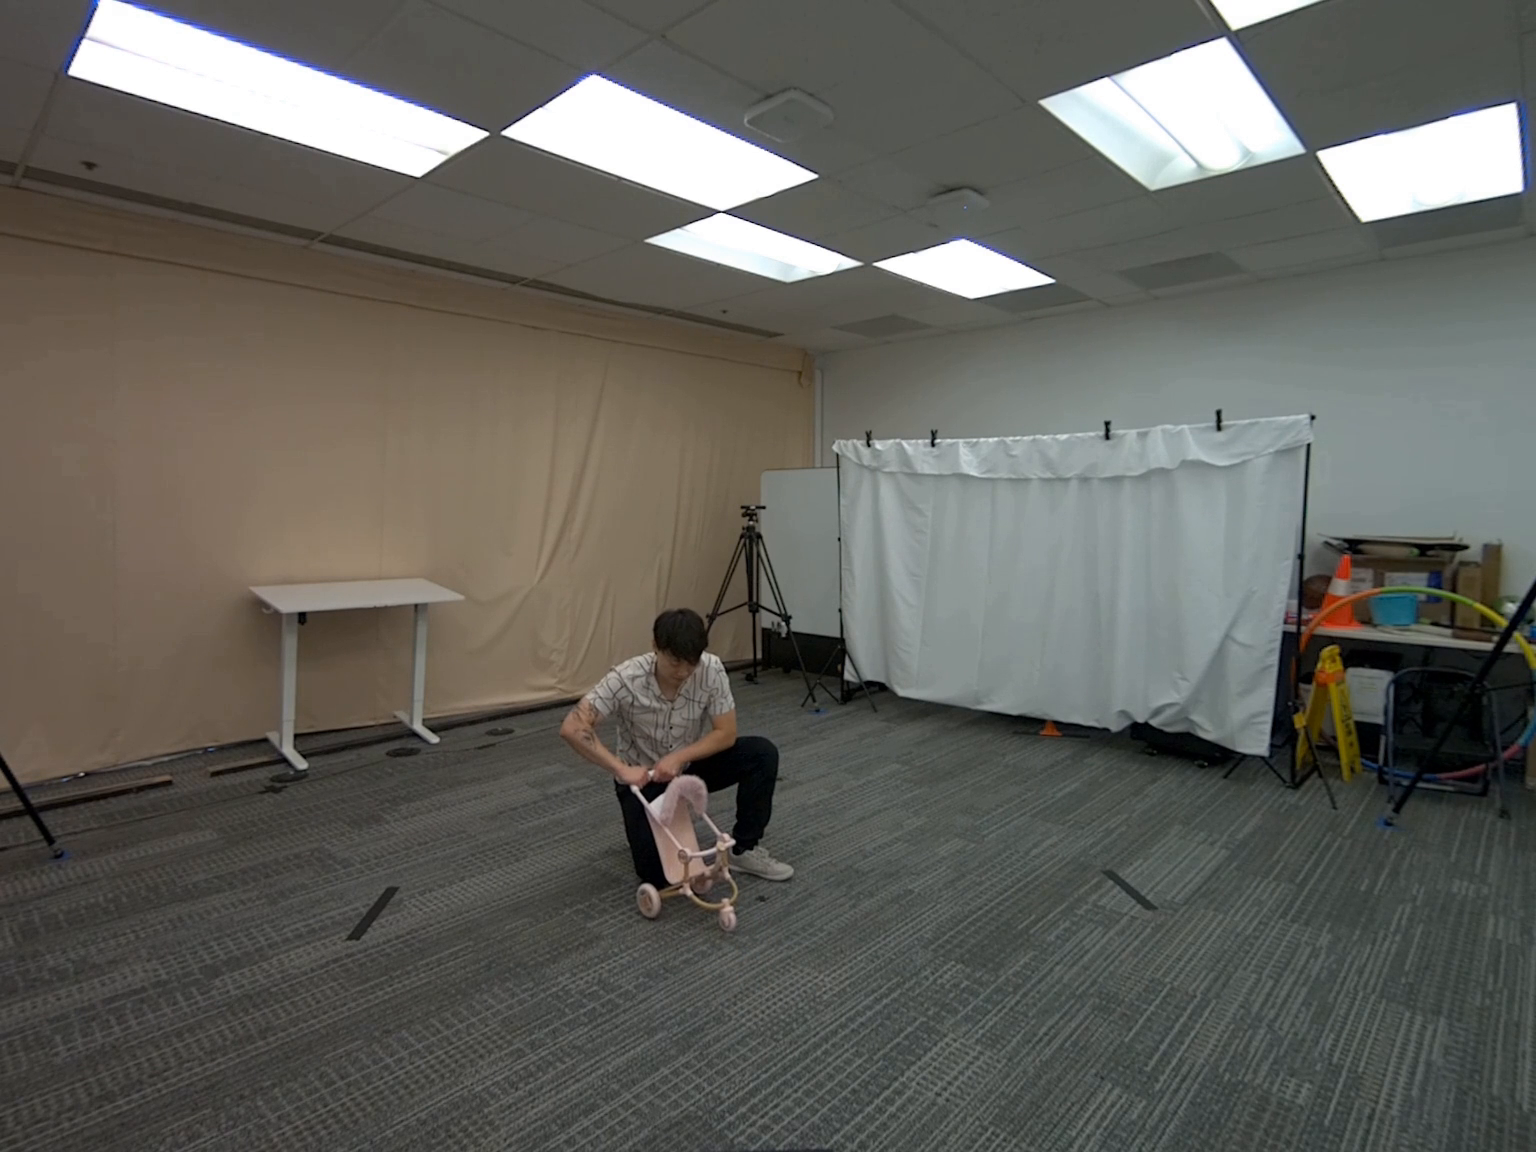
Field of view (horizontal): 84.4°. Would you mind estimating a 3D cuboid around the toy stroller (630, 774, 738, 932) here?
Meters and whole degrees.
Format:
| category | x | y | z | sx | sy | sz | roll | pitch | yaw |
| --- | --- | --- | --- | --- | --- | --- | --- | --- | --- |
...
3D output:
| category | x | y | z | sx | sy | sz | roll | pitch | yaw |
| --- | --- | --- | --- | --- | --- | --- | --- | --- | --- |
| toy stroller | -0.267 | 0.922 | 2.882 | 0.272 | 0.540 | 0.349 | 0 | -14 | -44 |
